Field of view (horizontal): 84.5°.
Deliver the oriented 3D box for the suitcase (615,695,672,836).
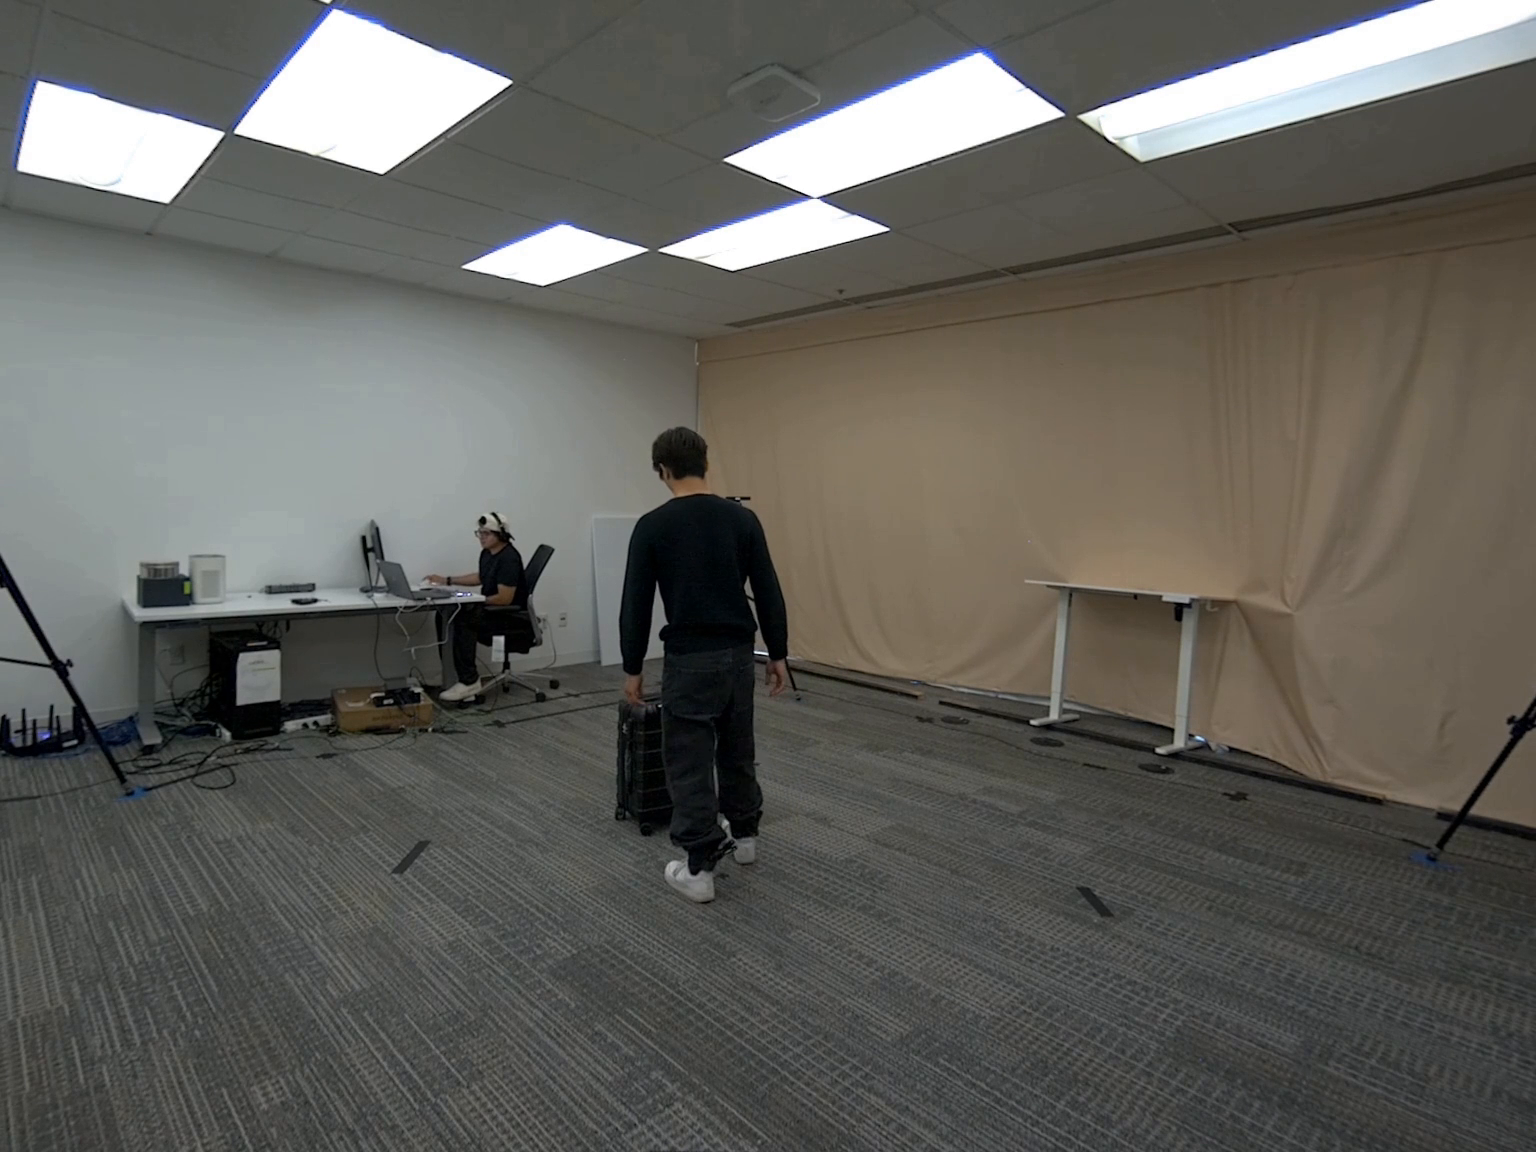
[{"bbox_3d":[-0.467,0.777,3.625,0.367,0.548,0.254,-1,3,-33],"label":"suitcase"}]
